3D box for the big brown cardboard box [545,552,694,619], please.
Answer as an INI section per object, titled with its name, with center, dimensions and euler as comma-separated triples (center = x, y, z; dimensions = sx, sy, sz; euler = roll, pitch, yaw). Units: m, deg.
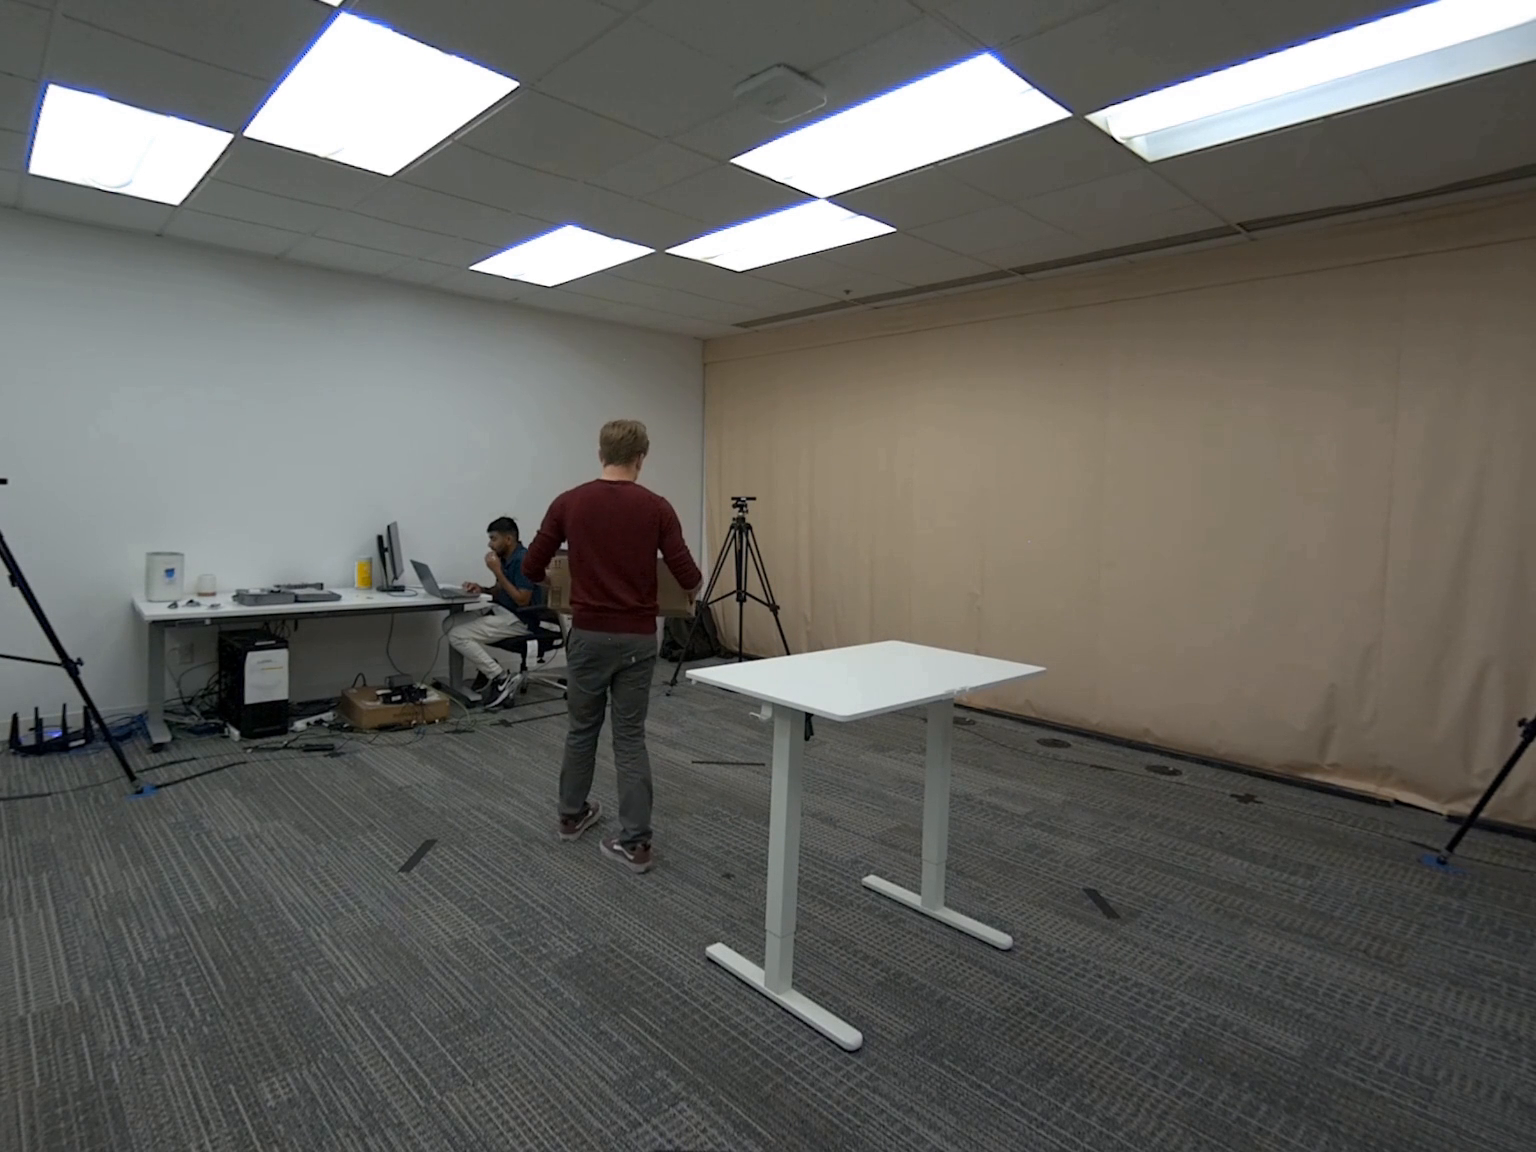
[big brown cardboard box]
center = -0.628, 0.048, 3.616
dimensions = 0.589, 0.234, 0.416
euler = 2, -6, -1
